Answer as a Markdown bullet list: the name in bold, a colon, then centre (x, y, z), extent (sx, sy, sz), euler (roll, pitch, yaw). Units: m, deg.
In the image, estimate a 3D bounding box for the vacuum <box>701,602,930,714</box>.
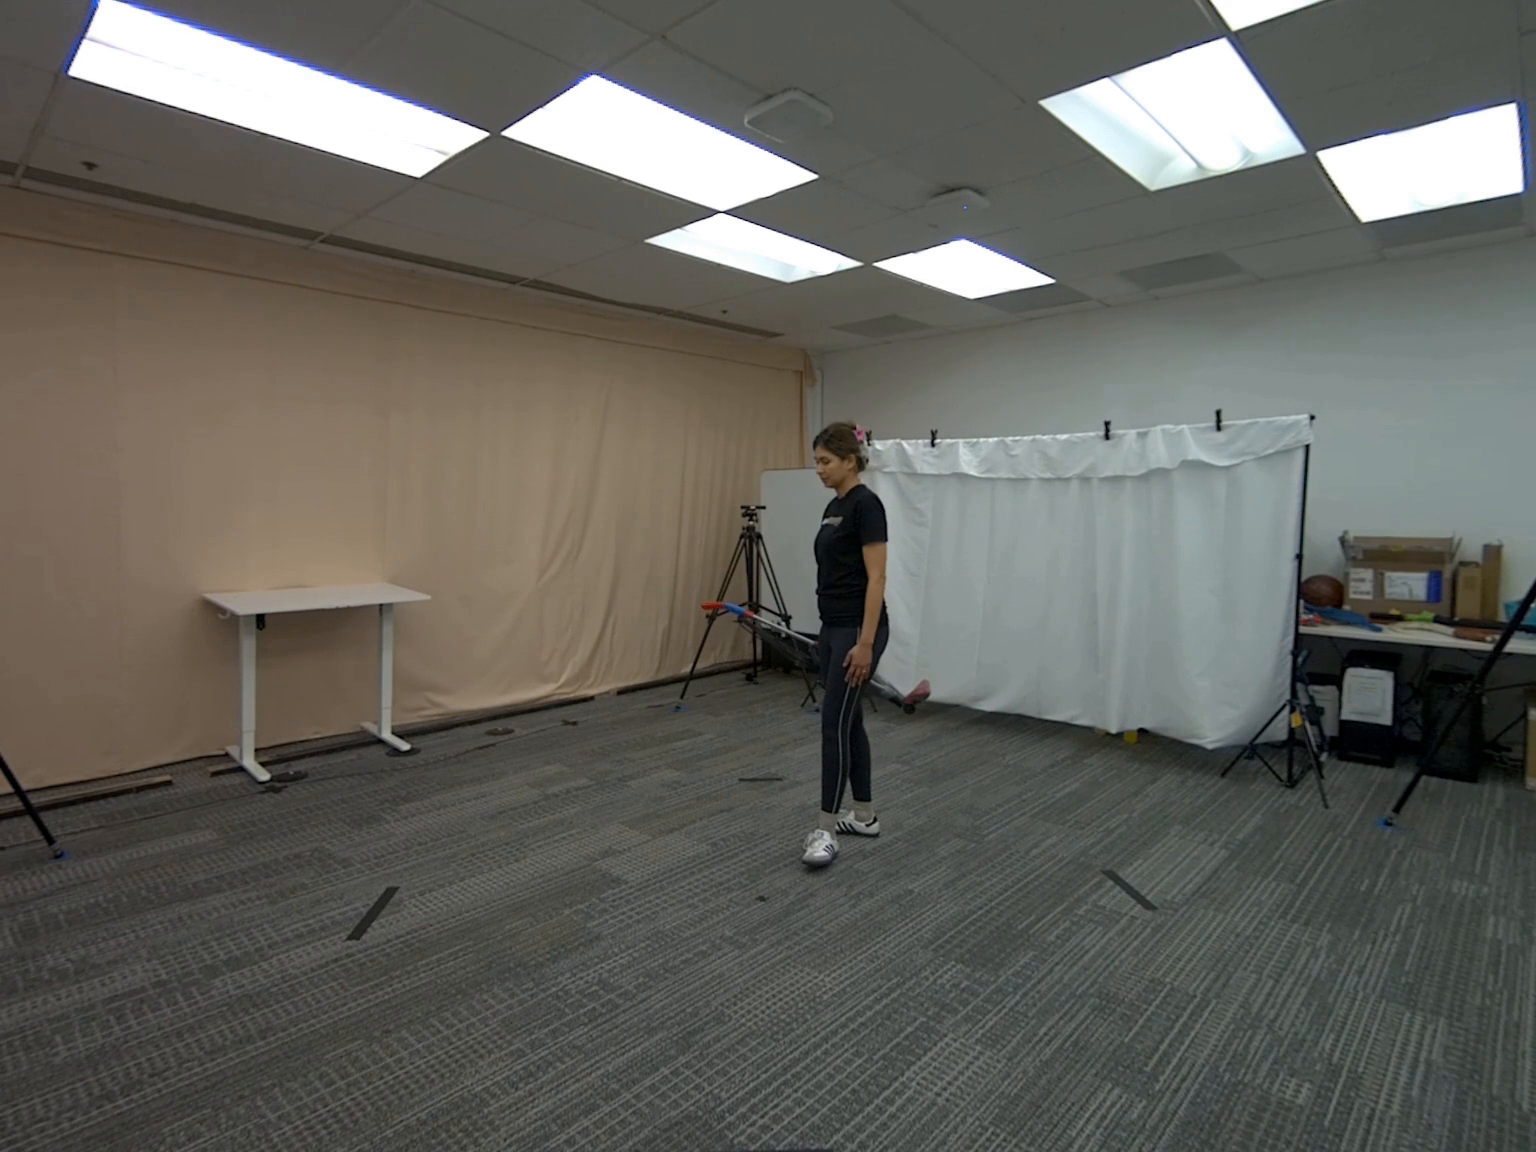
- **vacuum**: centre (0.183, 0.335, 3.757), extent (1.060, 0.144, 0.250), euler (23, 8, 8)
